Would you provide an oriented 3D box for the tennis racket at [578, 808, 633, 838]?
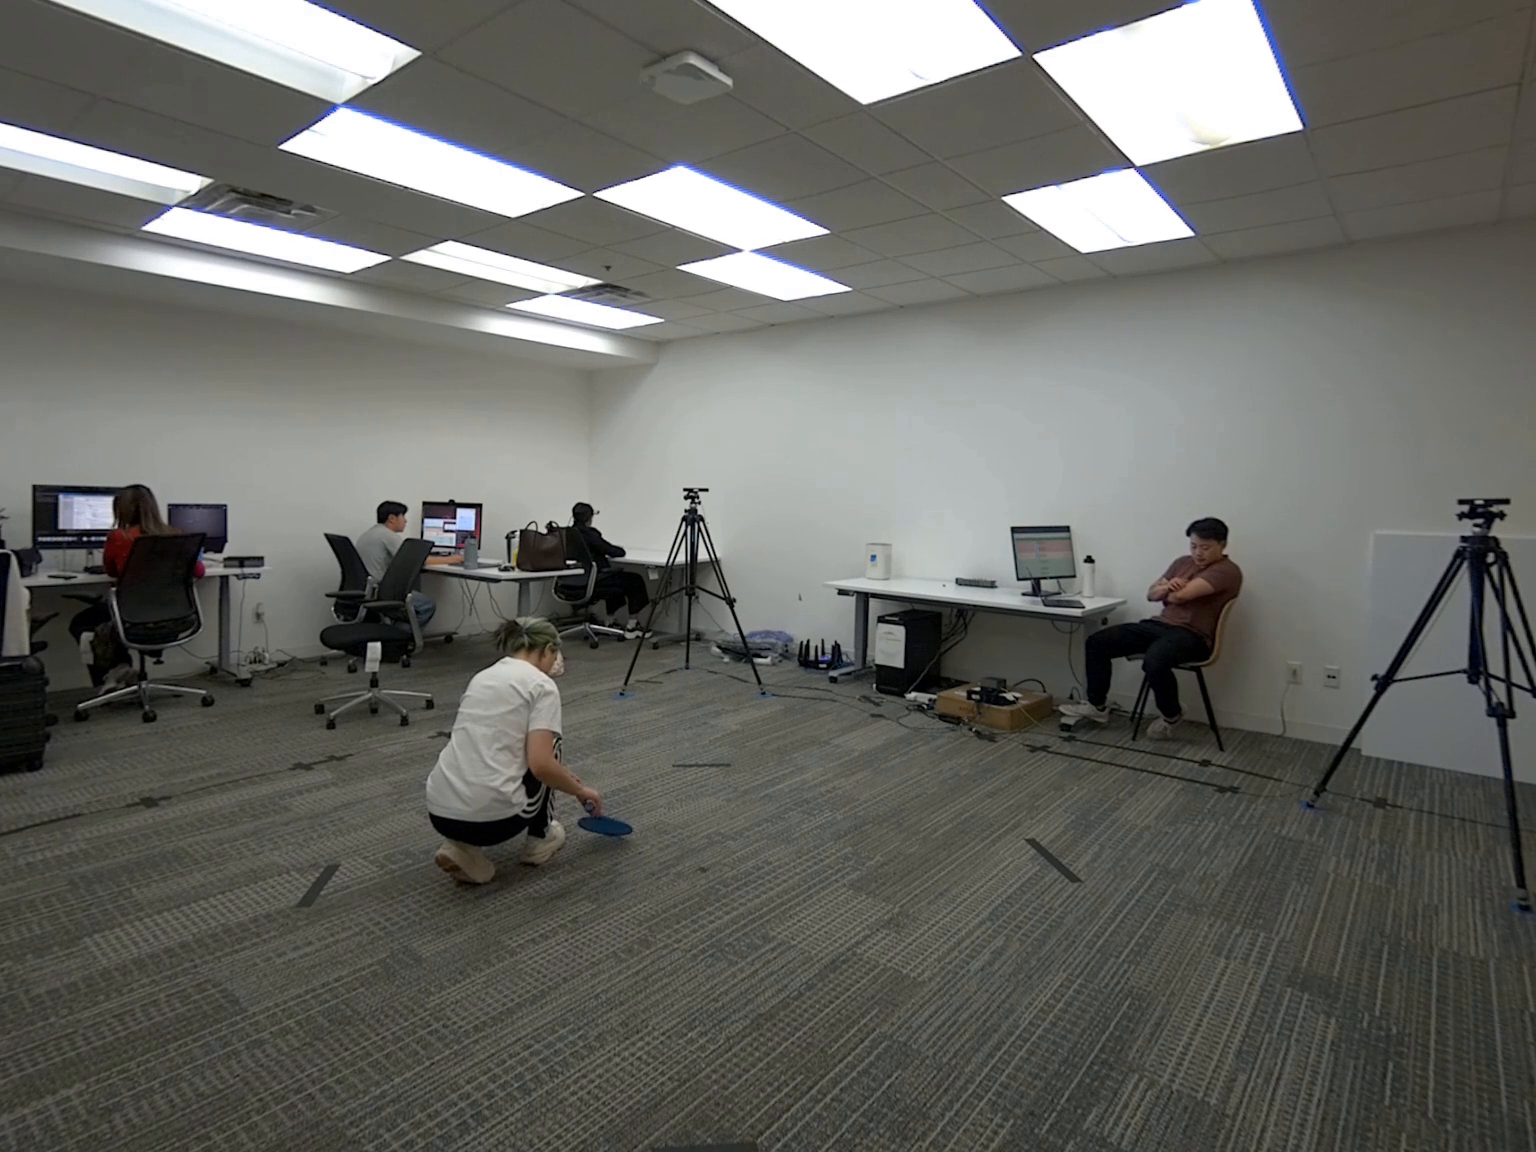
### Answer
[{"bbox_3d":[-0.650,0.933,3.215,0.215,0.032,0.420,2,-30,6],"label":"tennis racket"}]
